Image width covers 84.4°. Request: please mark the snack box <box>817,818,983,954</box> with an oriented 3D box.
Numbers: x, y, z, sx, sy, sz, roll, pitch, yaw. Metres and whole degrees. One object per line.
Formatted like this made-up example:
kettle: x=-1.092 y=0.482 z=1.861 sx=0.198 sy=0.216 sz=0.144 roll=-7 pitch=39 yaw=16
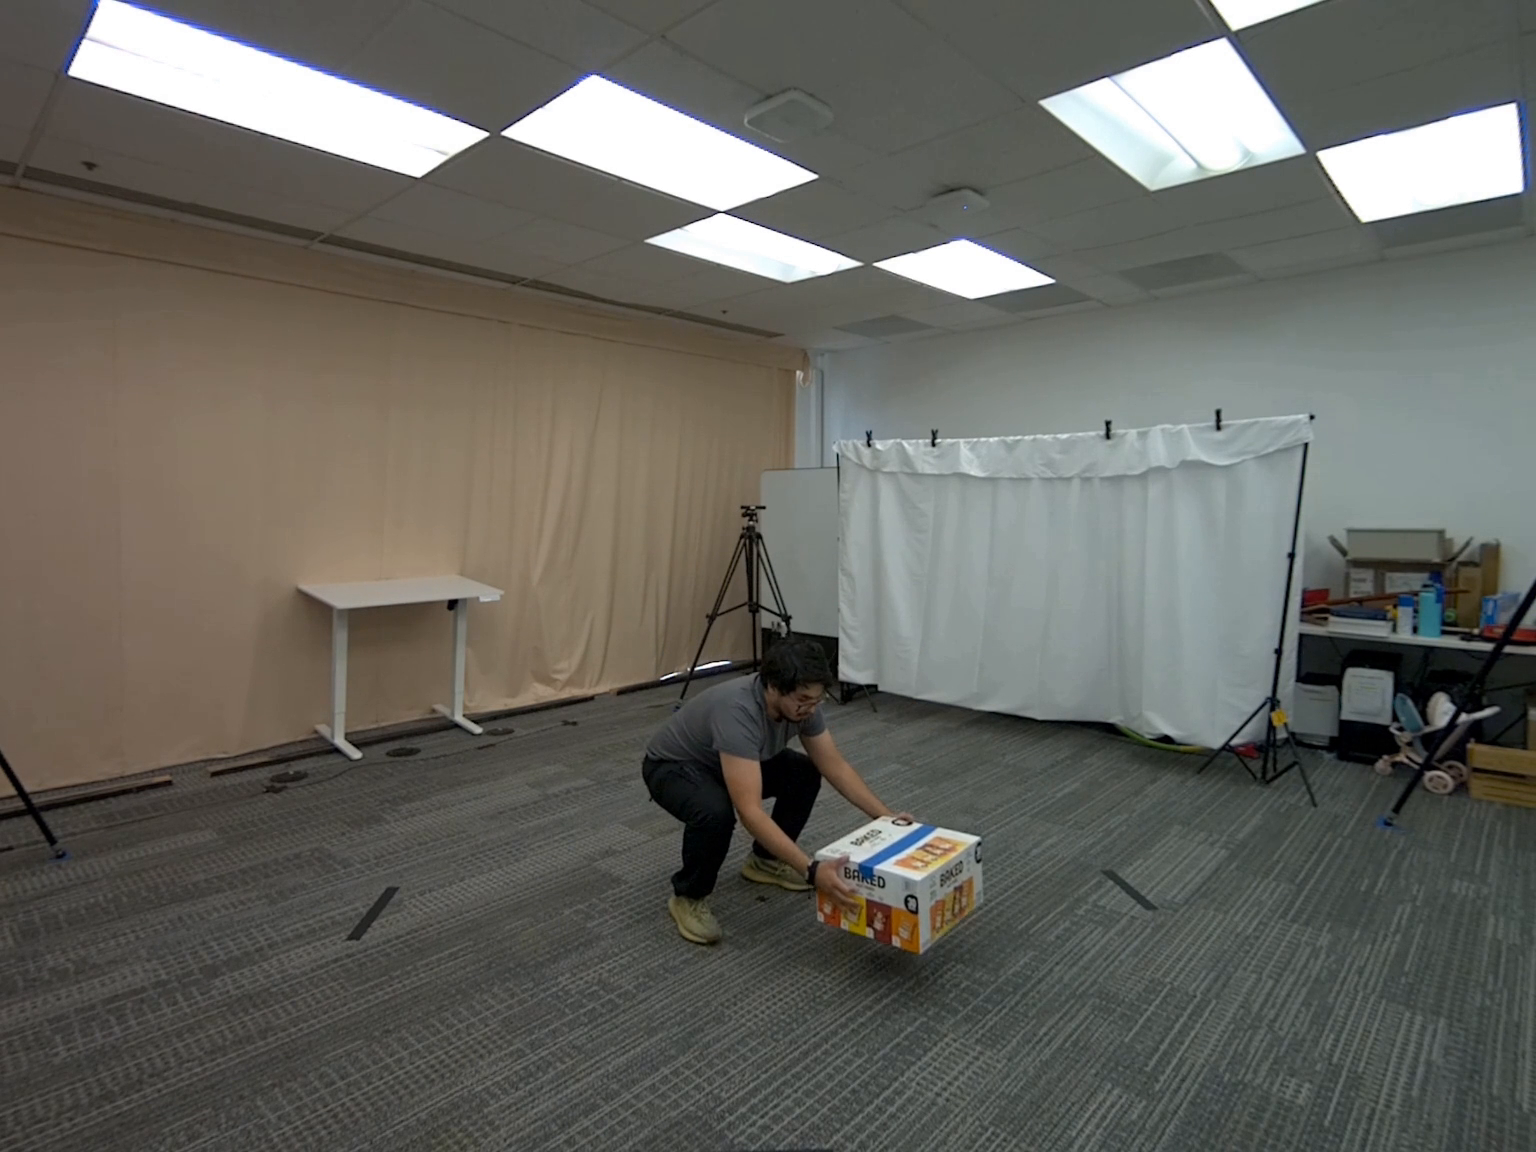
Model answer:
snack box: x=0.402 y=0.904 z=2.525 sx=0.351 sy=0.205 sz=0.393 roll=0 pitch=4 yaw=39
